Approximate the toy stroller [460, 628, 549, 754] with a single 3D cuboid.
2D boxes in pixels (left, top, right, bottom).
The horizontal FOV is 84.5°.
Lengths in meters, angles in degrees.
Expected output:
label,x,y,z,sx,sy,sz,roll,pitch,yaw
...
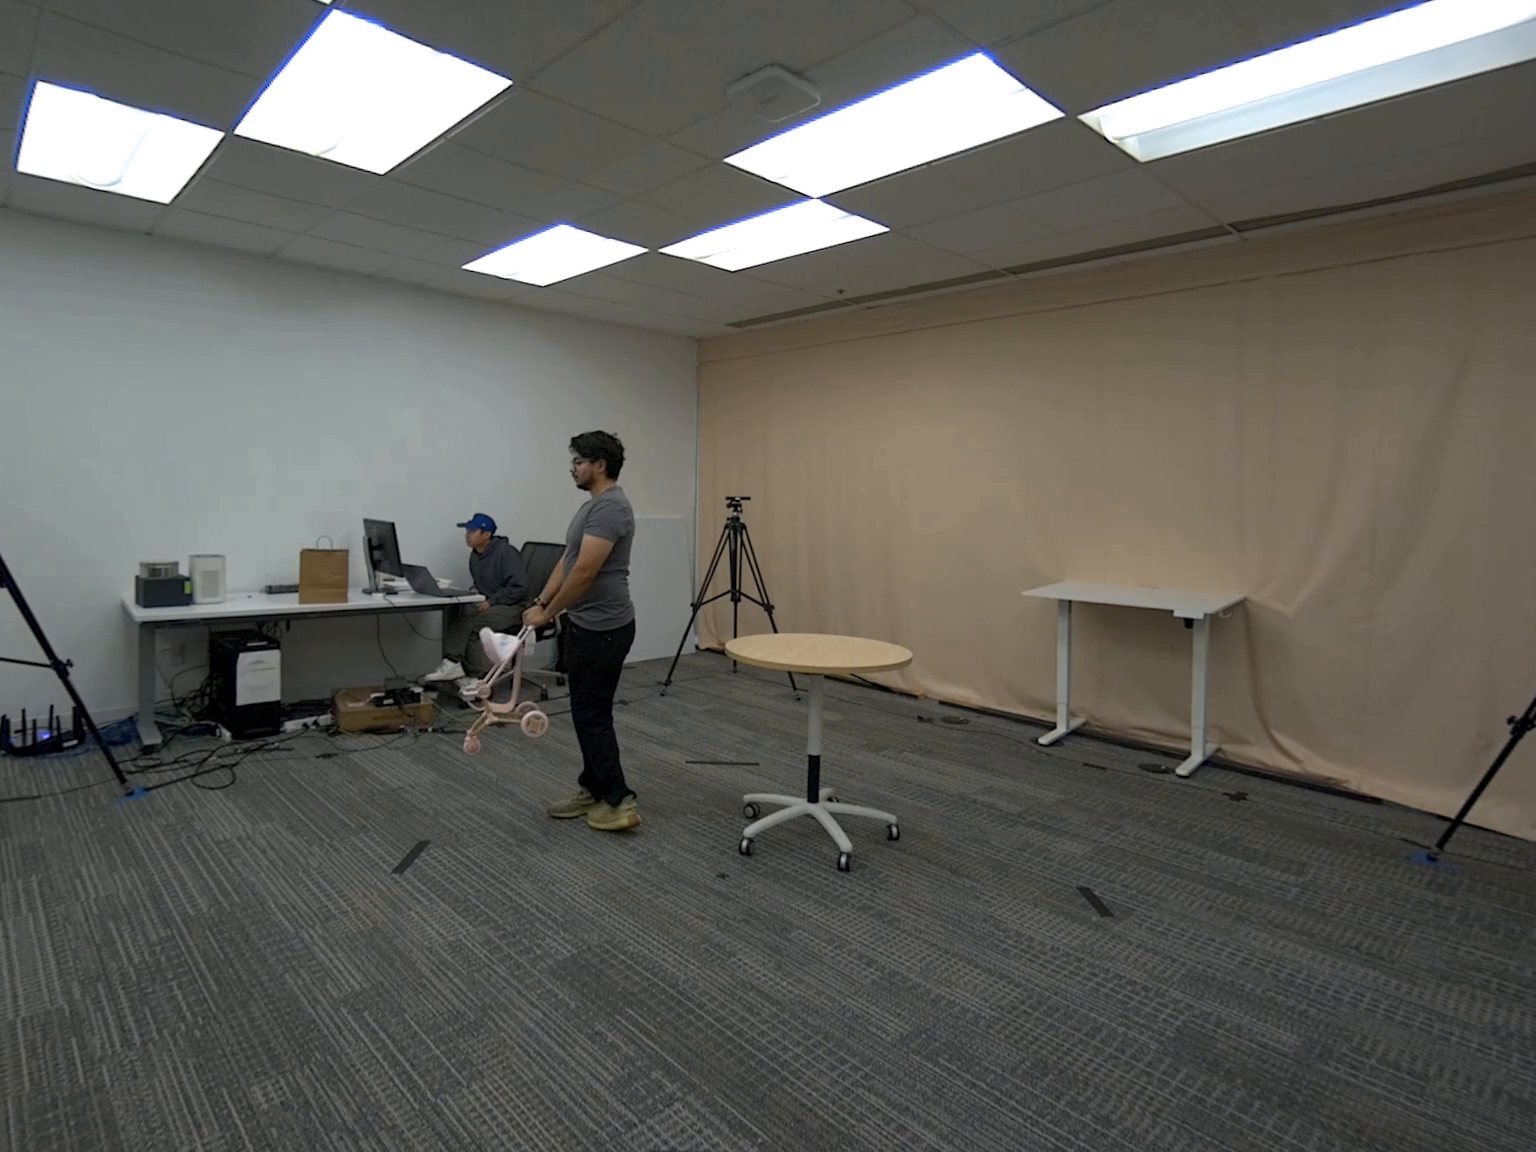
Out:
label,x,y,z,sx,sy,sz,roll,pitch,yaw
toy stroller,-1.087,0.447,3.451,0.337,0.535,0.285,-4,0,-17
